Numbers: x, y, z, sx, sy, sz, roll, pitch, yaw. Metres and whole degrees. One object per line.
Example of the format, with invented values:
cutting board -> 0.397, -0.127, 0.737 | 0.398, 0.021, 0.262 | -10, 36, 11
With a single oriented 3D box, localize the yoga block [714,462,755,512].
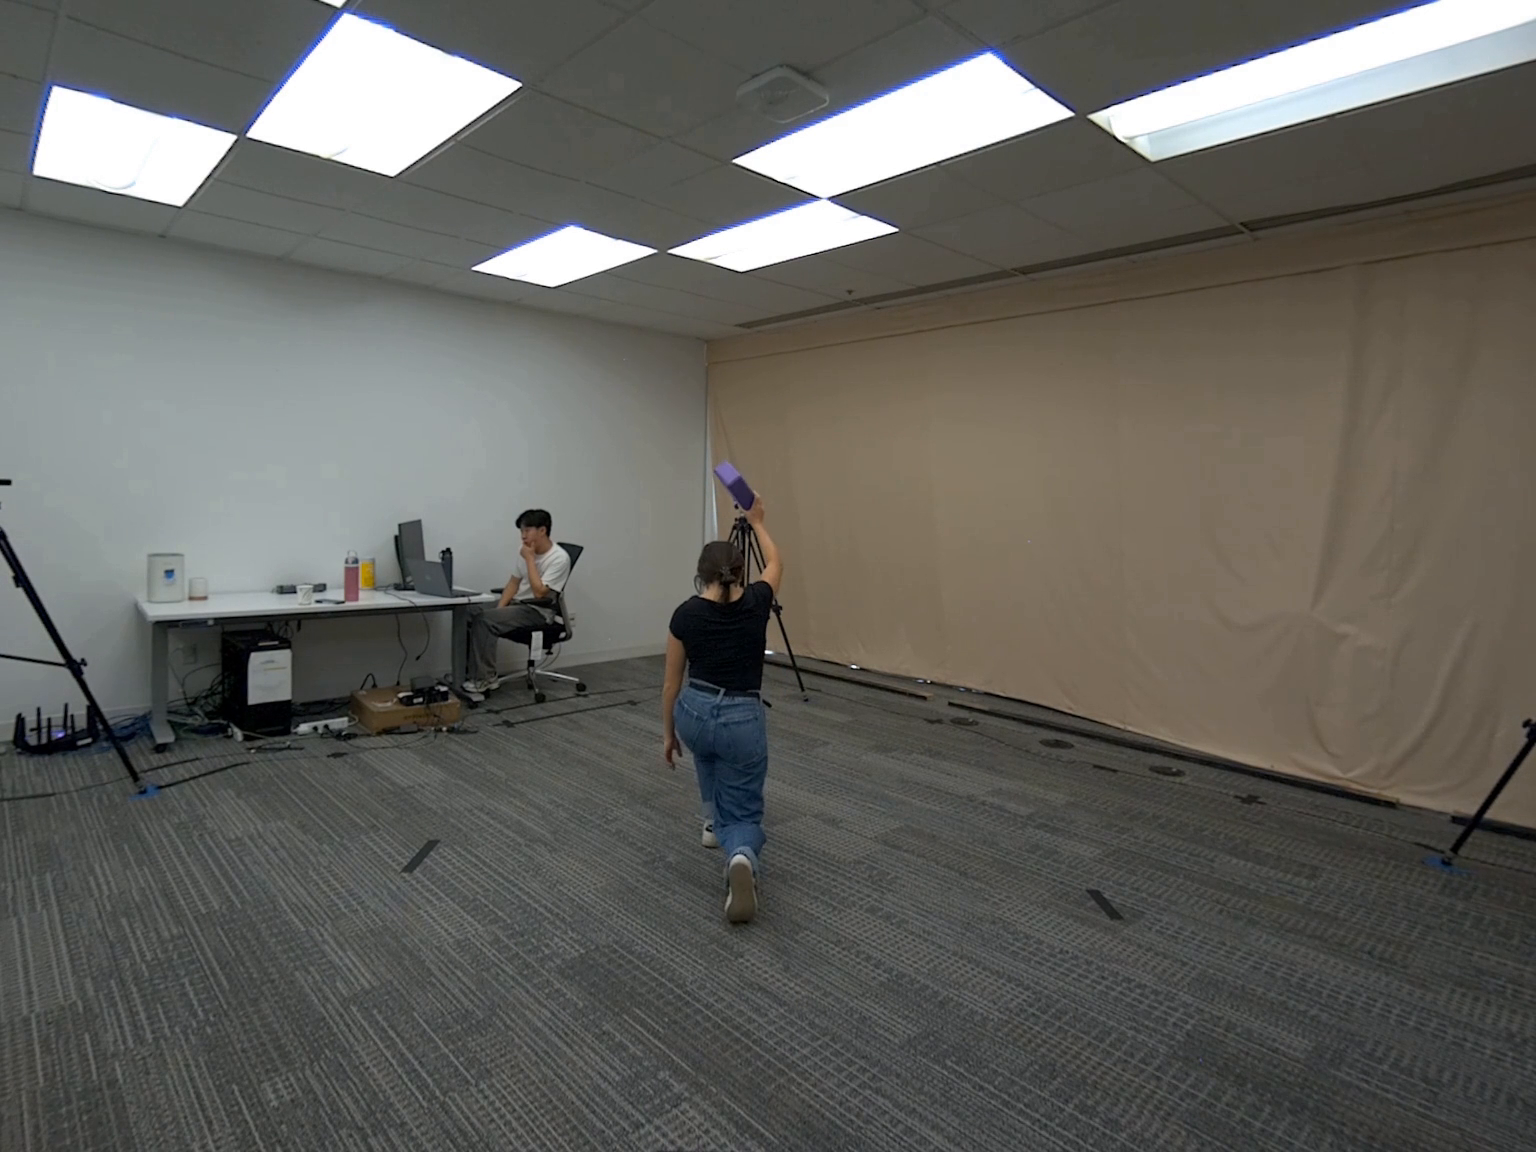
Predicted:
yoga block -> -0.144, -0.380, 3.668 | 0.154, 0.076, 0.222 | 50, -3, 43
